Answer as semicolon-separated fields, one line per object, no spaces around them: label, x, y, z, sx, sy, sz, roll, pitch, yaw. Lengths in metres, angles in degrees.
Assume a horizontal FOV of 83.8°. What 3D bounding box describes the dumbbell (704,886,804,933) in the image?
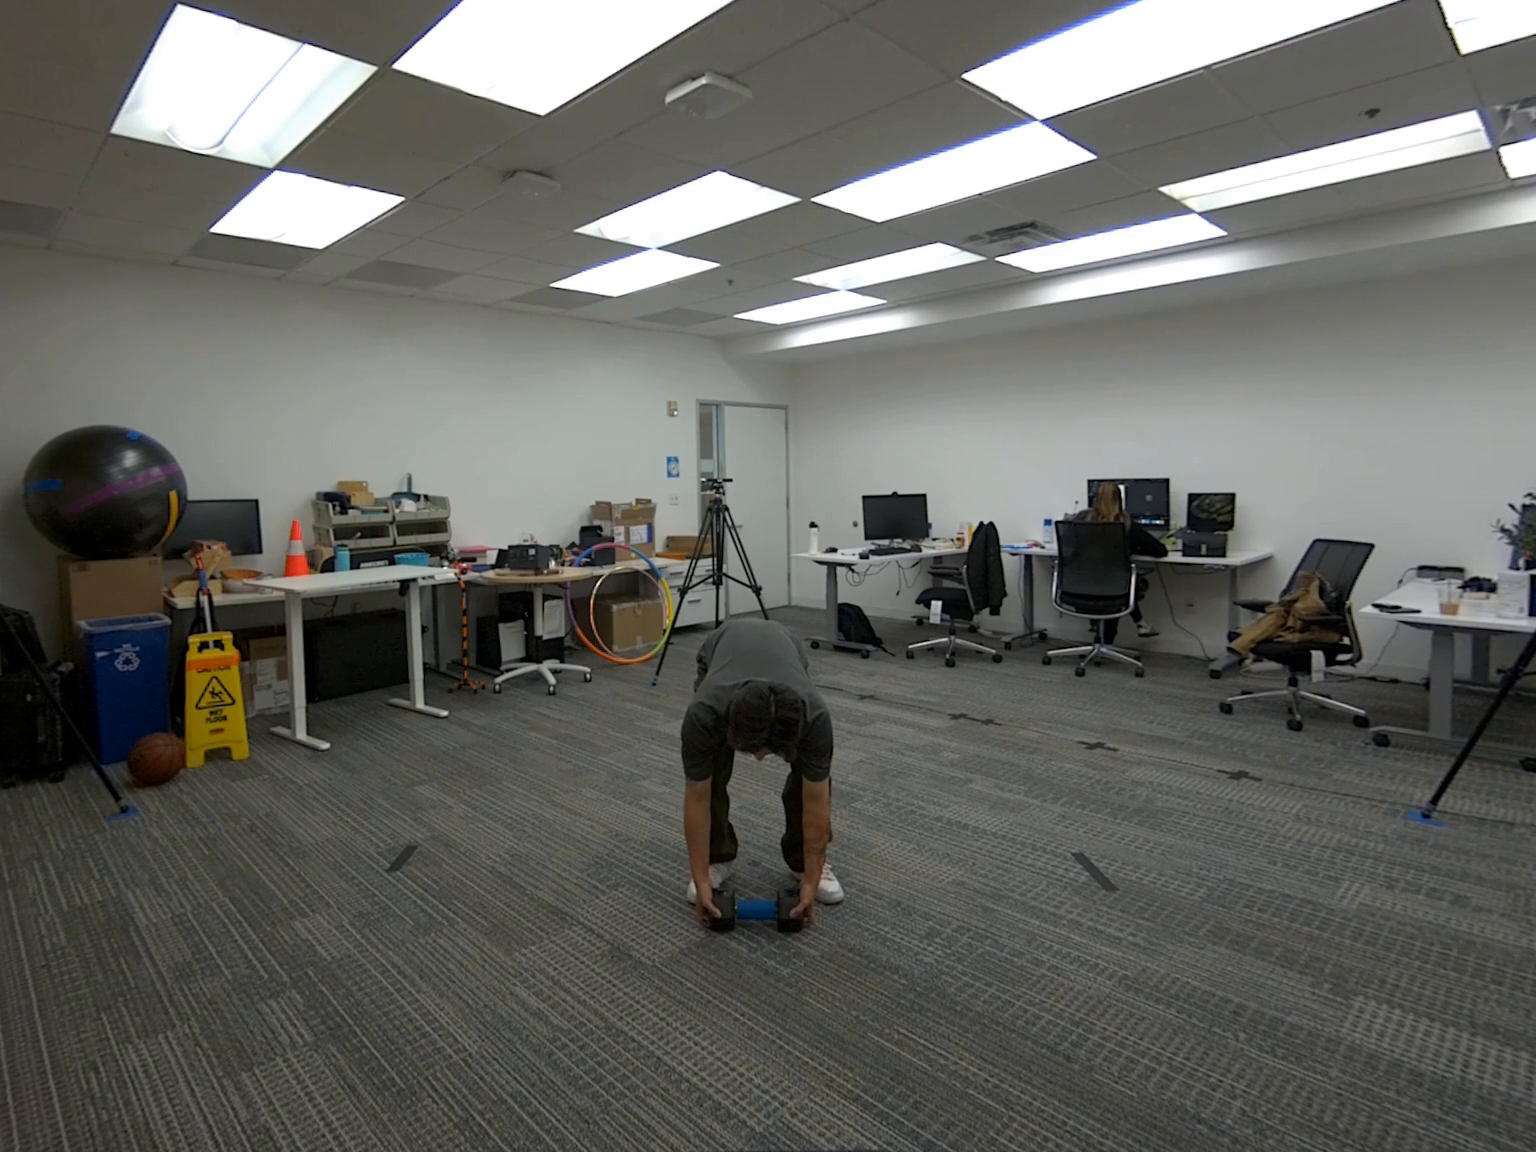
dumbbell;-0.031;1.037;2.670;0.294;0.126;0.106;-1;-29;2
